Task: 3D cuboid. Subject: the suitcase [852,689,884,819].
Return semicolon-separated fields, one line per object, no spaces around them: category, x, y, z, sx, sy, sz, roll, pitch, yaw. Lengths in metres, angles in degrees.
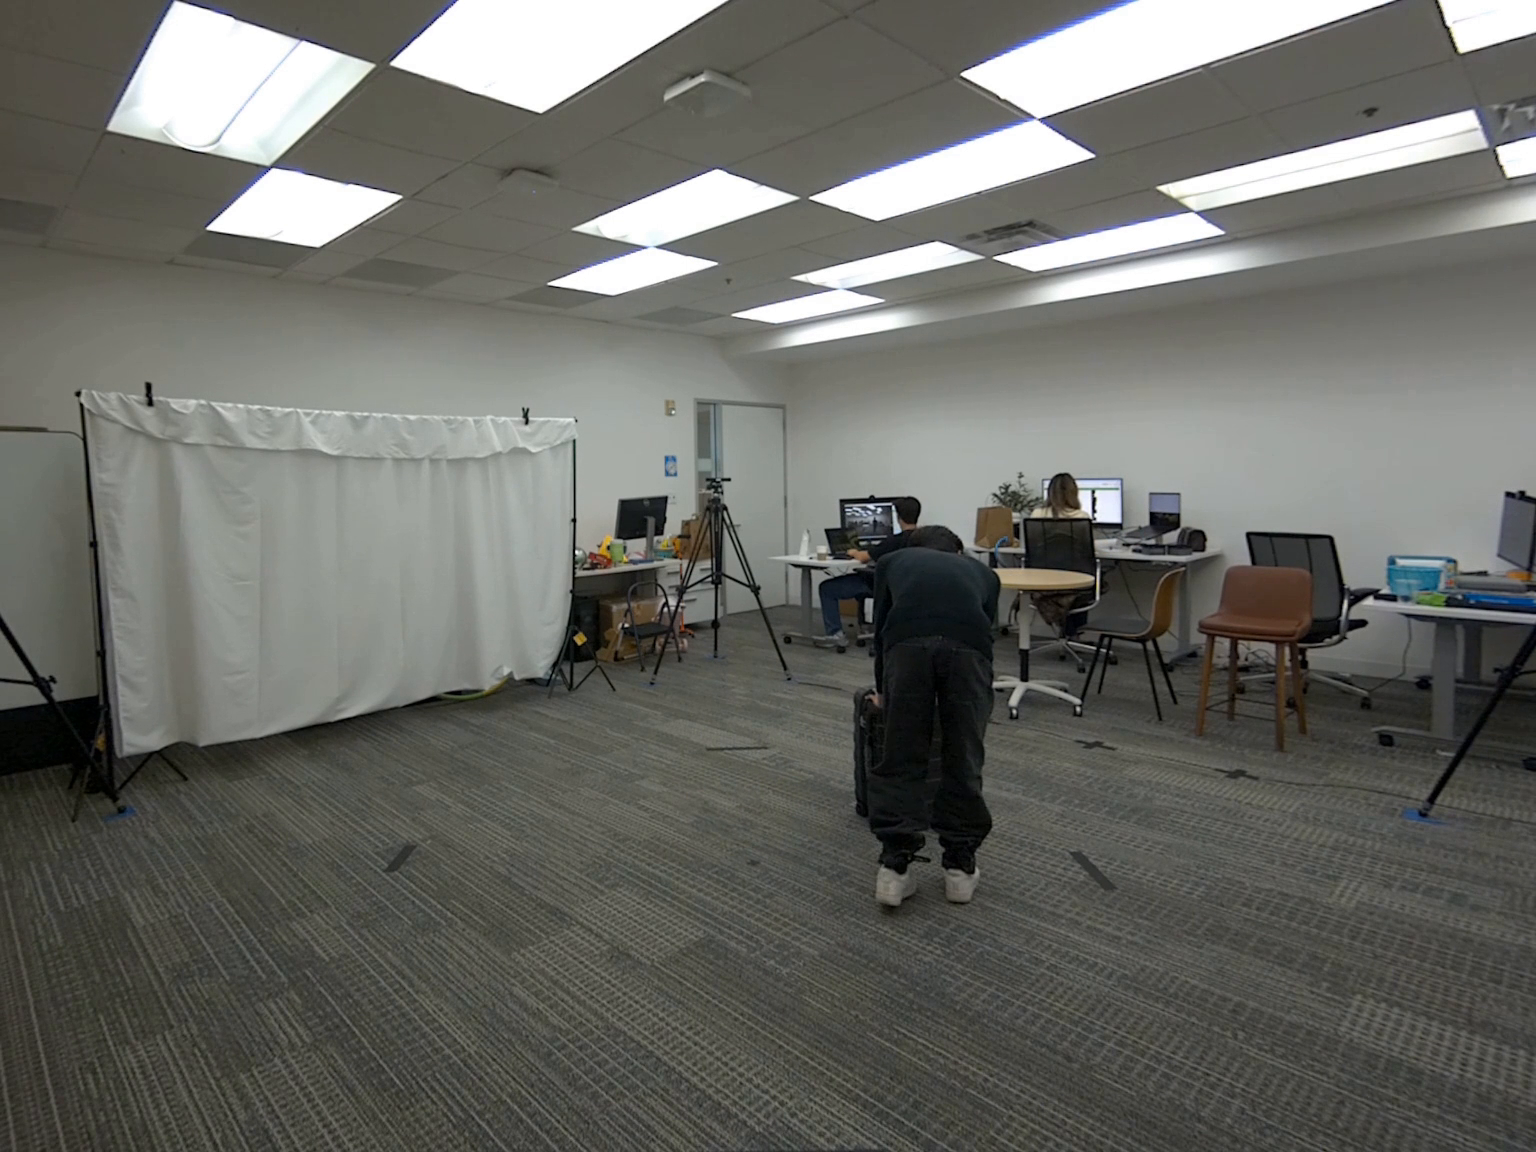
suitcase;0.558;0.718;3.485;0.368;0.549;0.253;-3;1;-22
